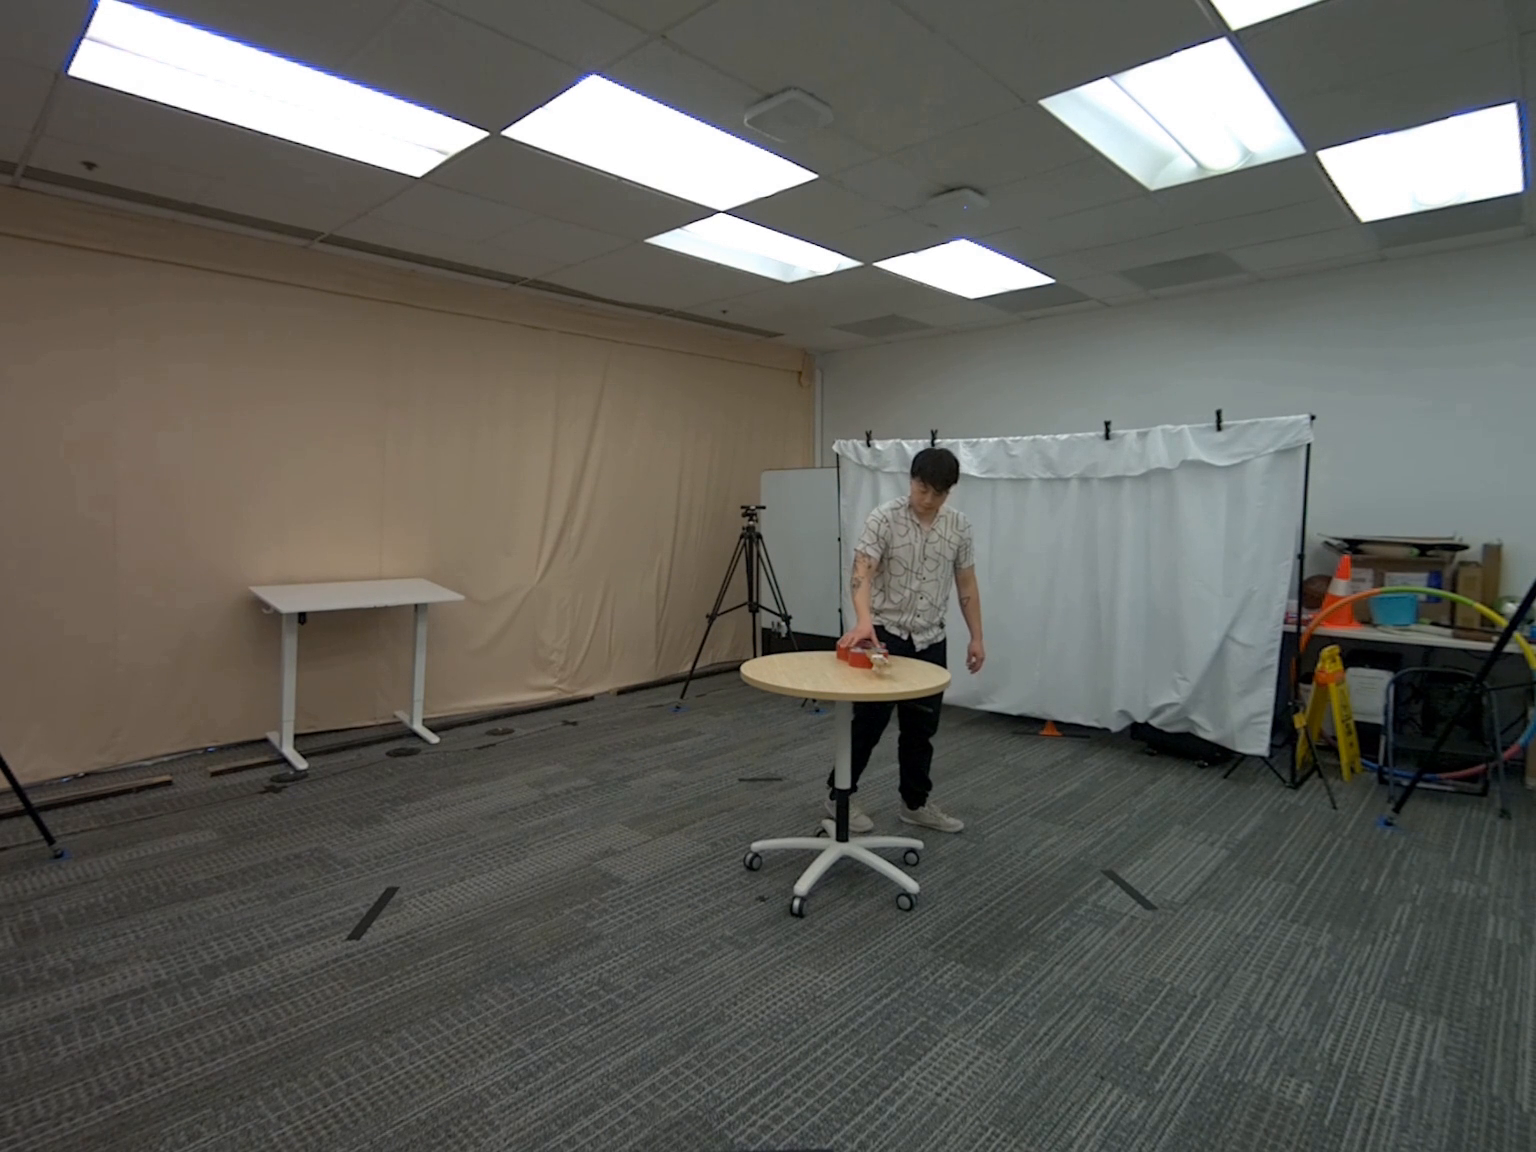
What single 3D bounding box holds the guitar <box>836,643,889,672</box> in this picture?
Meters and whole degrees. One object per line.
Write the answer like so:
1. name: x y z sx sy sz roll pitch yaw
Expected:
1. guitar: 0.367 0.307 3.164 0.194 0.070 0.496 2 4 2
